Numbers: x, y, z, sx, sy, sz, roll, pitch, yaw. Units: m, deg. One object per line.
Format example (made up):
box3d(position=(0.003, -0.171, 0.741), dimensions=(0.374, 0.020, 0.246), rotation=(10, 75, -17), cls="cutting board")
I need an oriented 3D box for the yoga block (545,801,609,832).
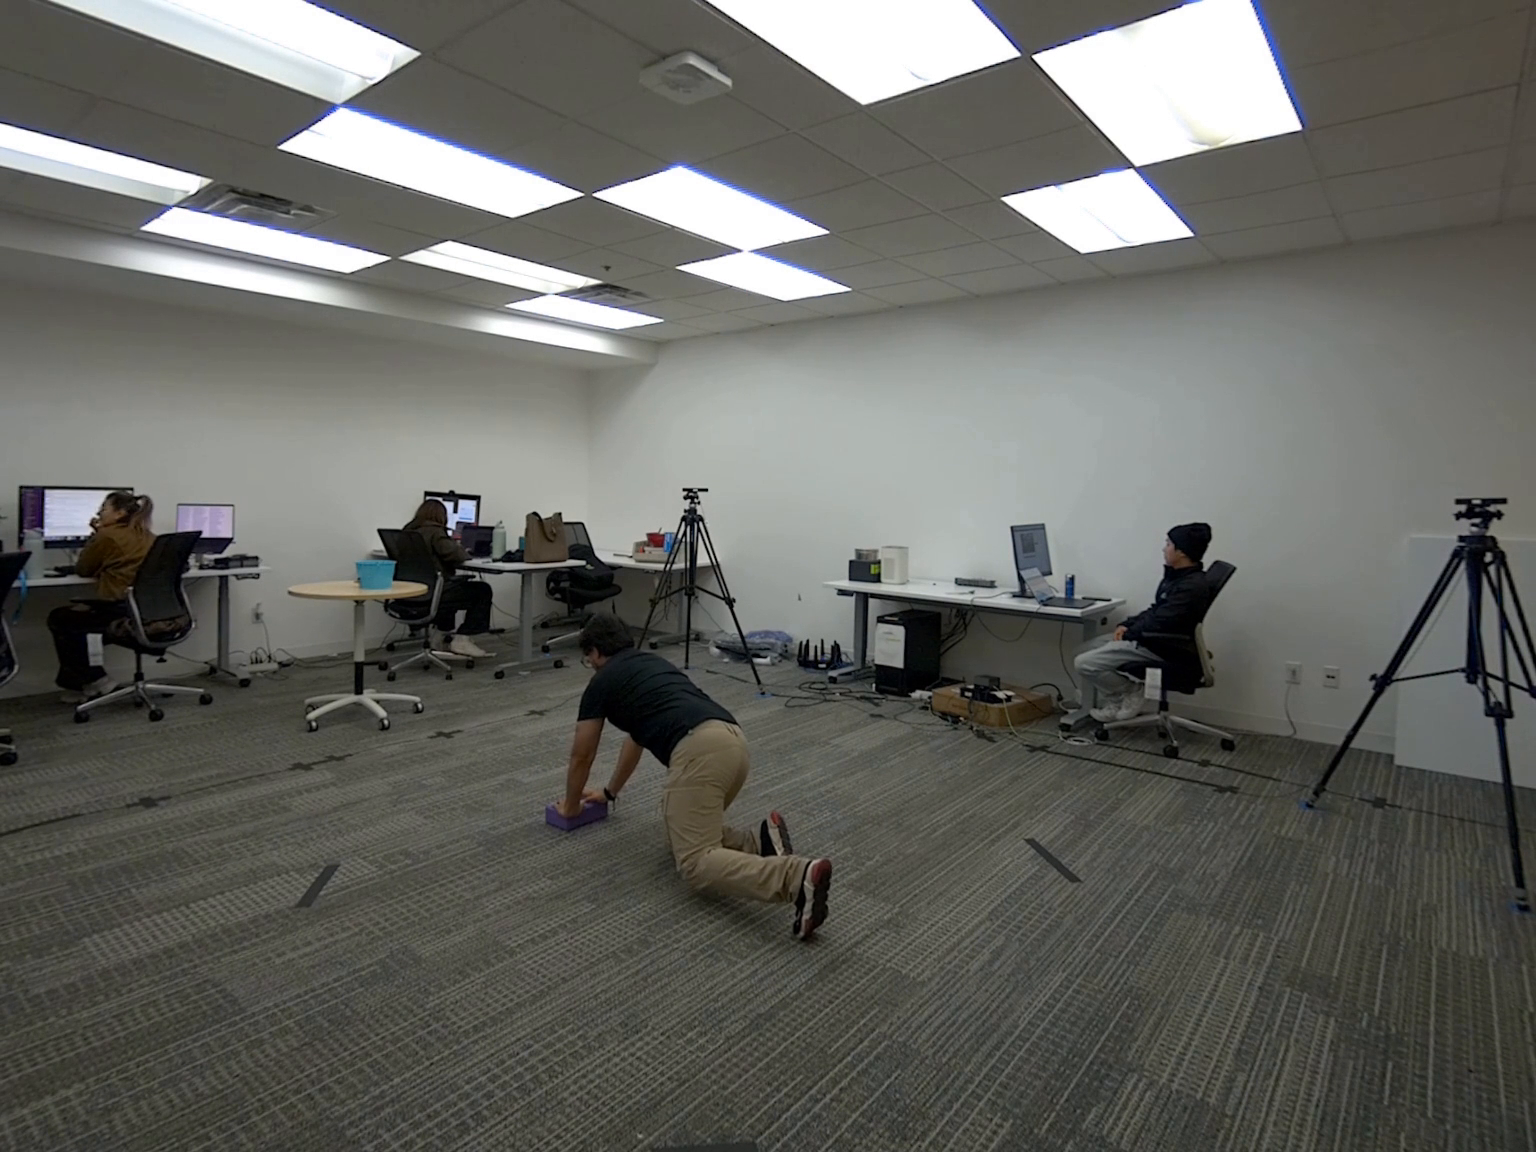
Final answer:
box3d(position=(-0.810, 0.979, 3.558), dimensions=(0.154, 0.076, 0.223), rotation=(2, 5, 38), cls="yoga block")
